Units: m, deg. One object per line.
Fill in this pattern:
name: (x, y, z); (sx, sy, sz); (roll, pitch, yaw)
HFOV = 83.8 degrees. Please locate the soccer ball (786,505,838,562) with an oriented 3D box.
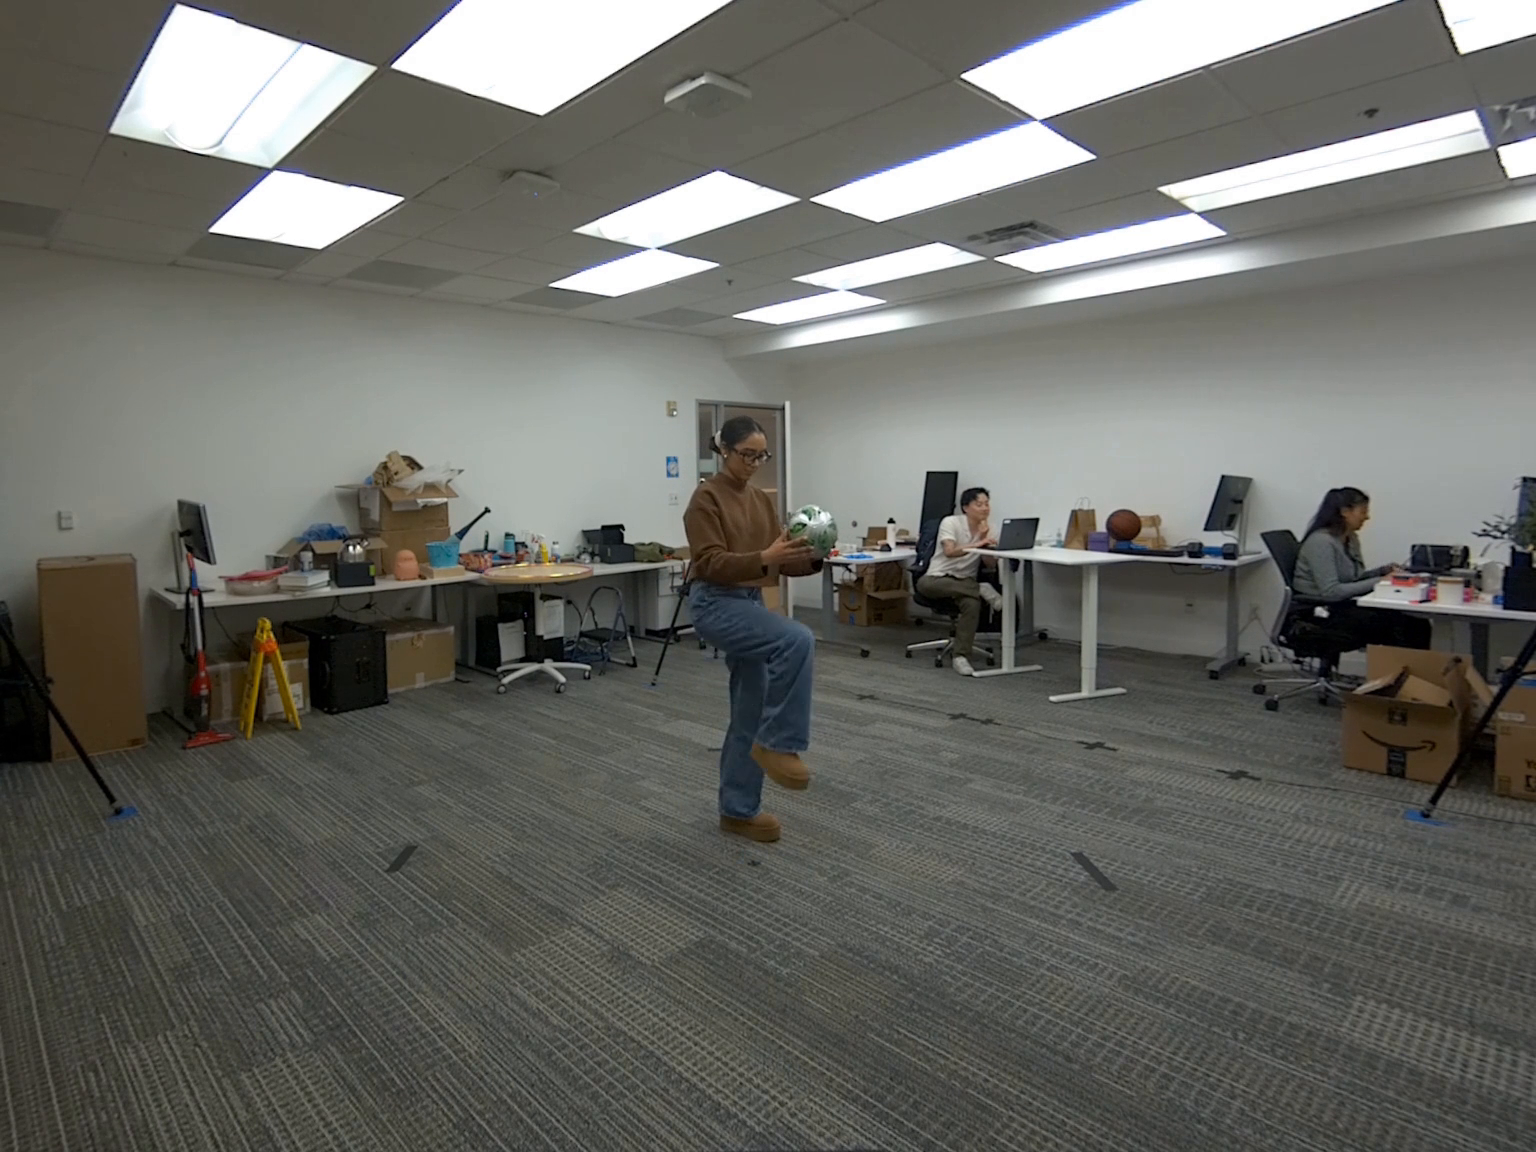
soccer ball: (0.160, -0.156, 3.064); (0.187, 0.187, 0.188); (-1, 5, -2)
